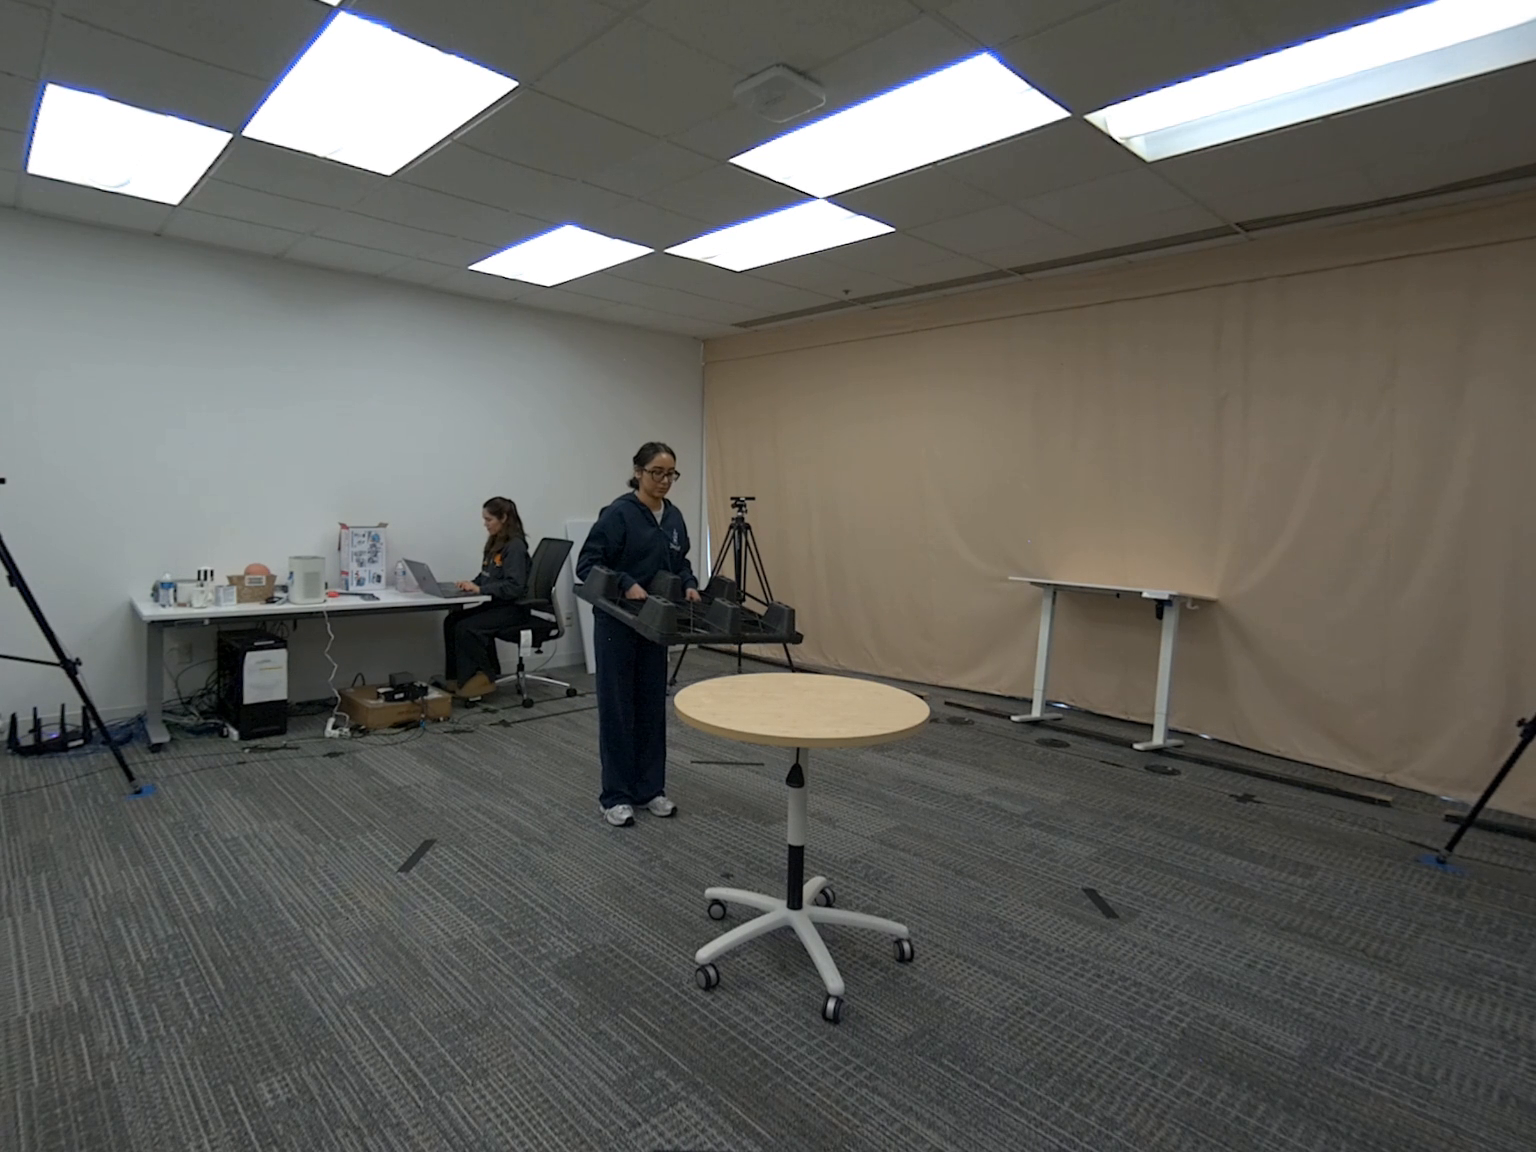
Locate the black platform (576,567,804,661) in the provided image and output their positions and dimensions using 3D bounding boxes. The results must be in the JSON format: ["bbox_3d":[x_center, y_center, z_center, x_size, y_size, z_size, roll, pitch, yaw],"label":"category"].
[{"bbox_3d":[-0.315,0.122,3.449,0.785,0.142,0.624,3,15,-46],"label":"black platform"}]
